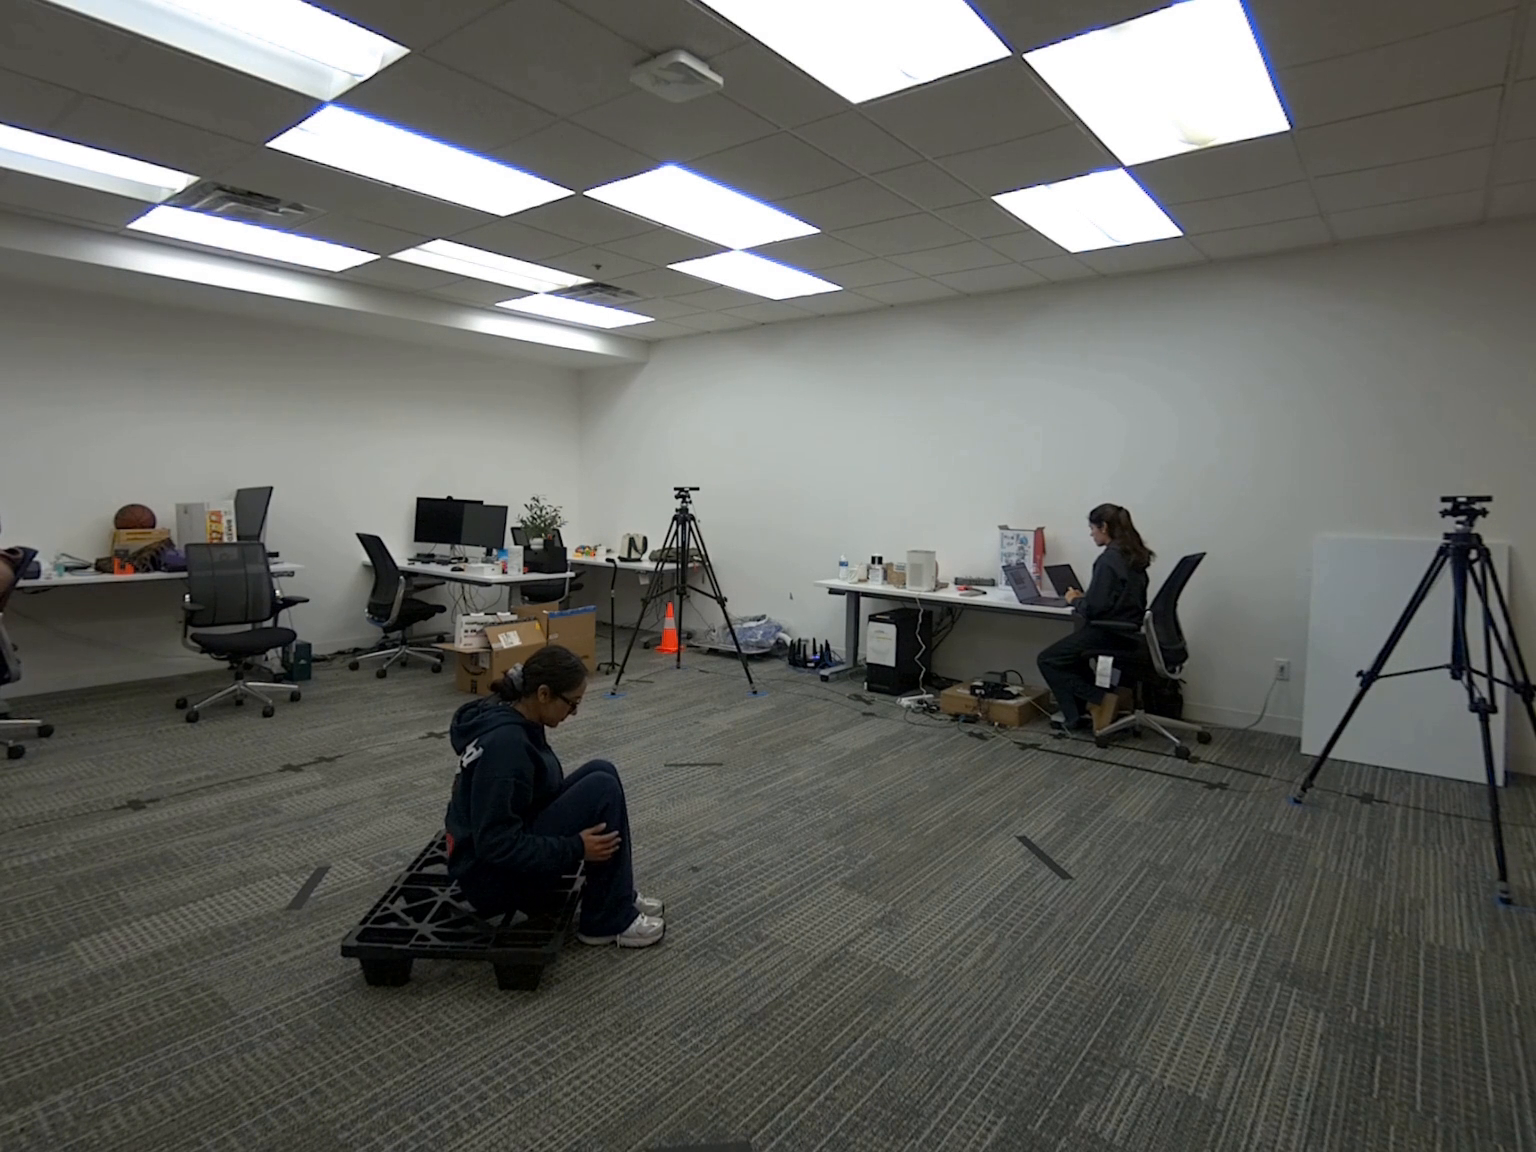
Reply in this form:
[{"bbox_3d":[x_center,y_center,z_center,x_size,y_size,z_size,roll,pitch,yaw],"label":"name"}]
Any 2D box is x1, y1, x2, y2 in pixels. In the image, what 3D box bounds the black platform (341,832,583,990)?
[{"bbox_3d":[-0.900,1.031,2.703,0.605,0.143,0.809,0,6,-1],"label":"black platform"}]
